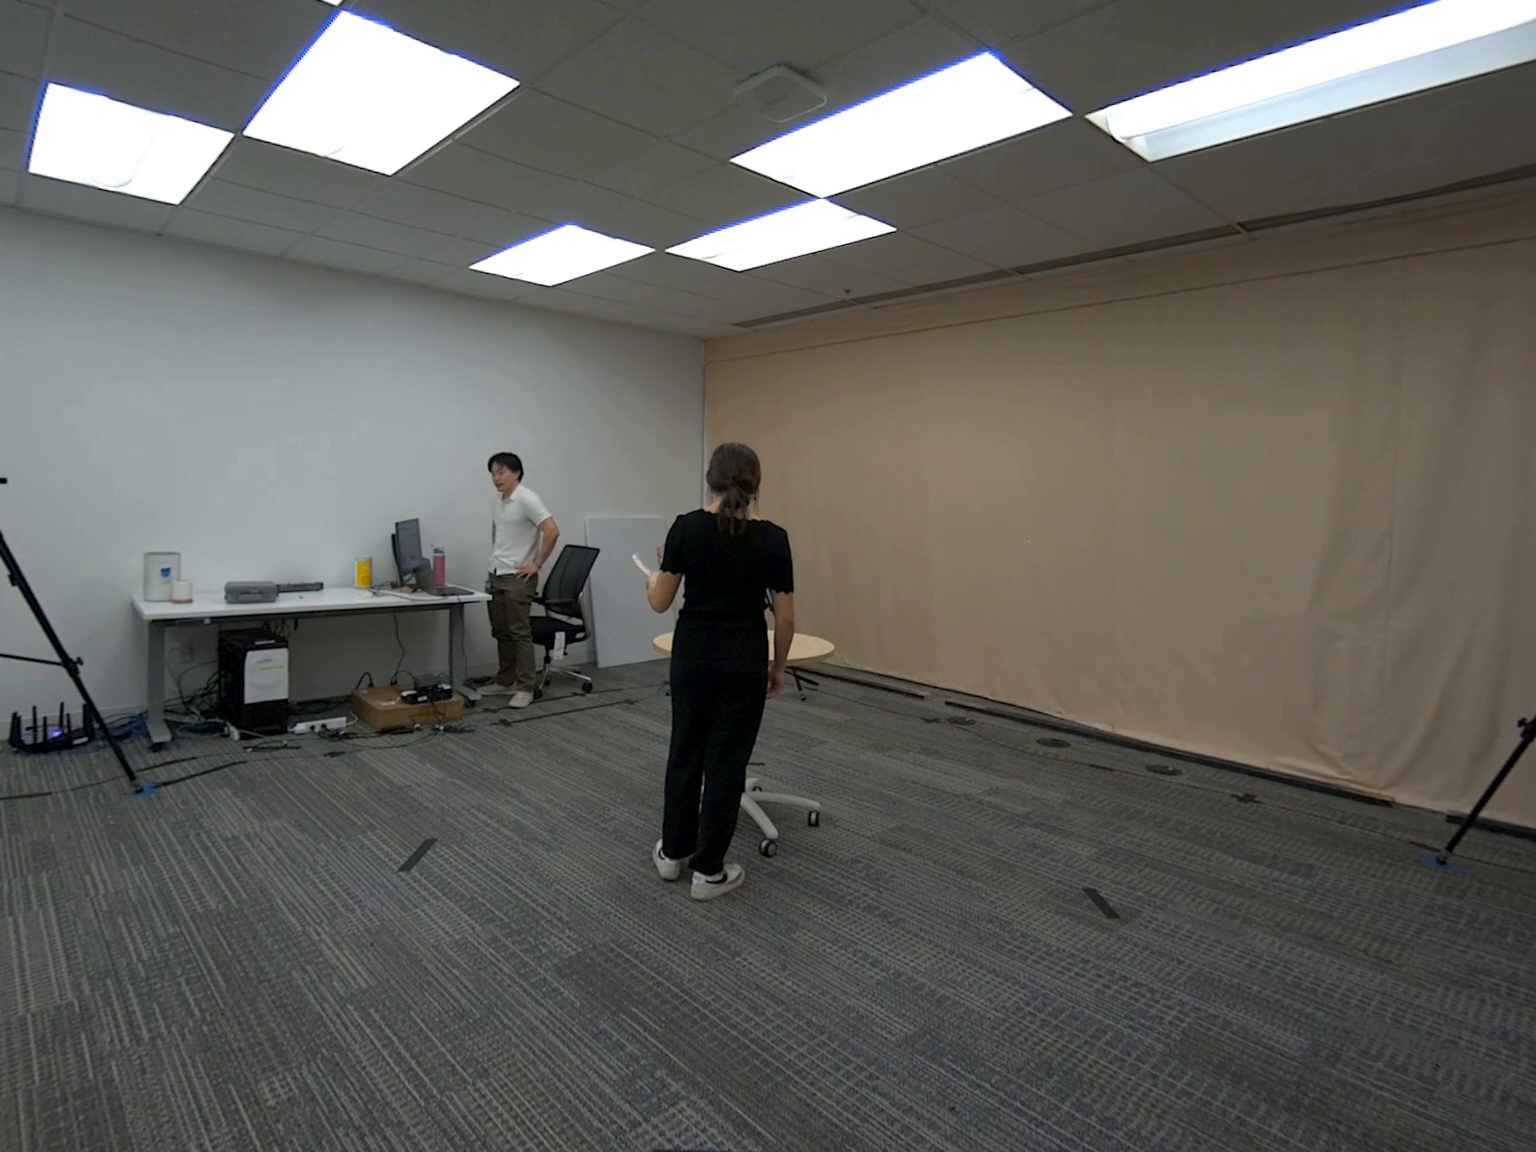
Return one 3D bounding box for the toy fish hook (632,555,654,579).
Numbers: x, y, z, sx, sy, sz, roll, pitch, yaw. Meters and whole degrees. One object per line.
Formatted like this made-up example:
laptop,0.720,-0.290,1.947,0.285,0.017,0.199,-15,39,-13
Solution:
toy fish hook,-0.468,-0.040,3.439,0.221,0.048,0.516,32,10,-18
